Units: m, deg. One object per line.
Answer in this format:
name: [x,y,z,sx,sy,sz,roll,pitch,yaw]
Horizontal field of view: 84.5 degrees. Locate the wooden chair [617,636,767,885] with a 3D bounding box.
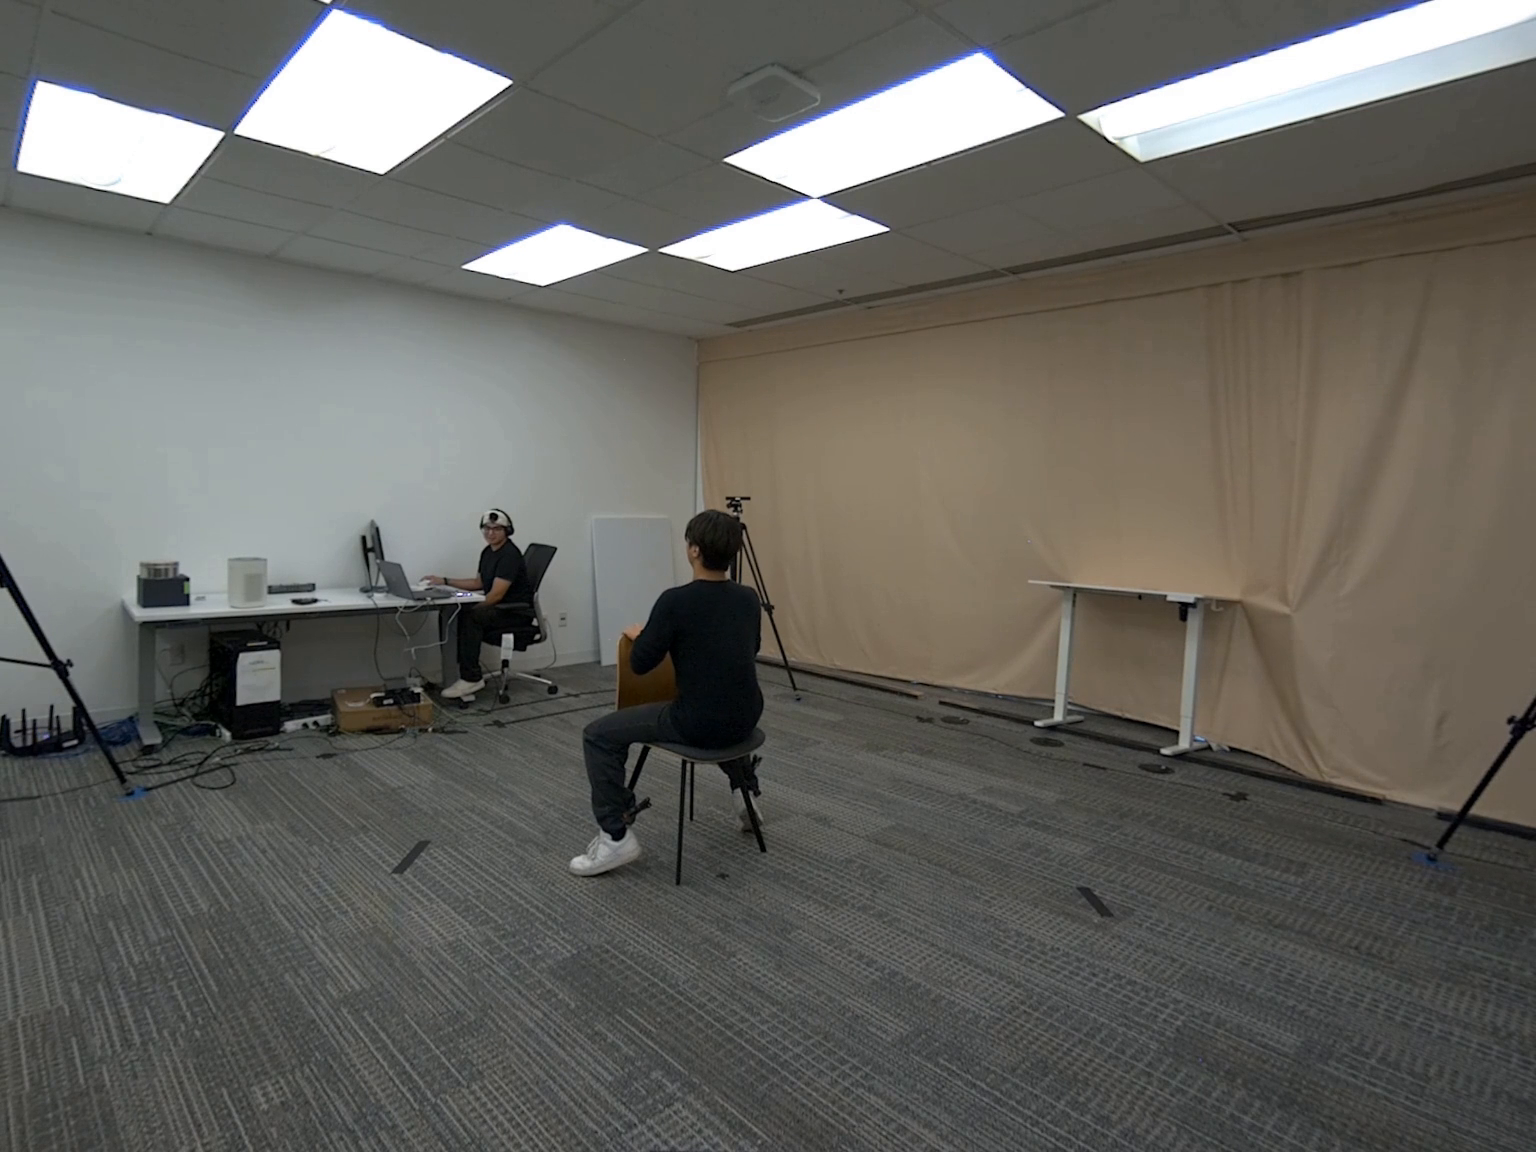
wooden chair: [-0.309,0.661,3.297,0.467,0.877,0.535,-2,2,-44]
